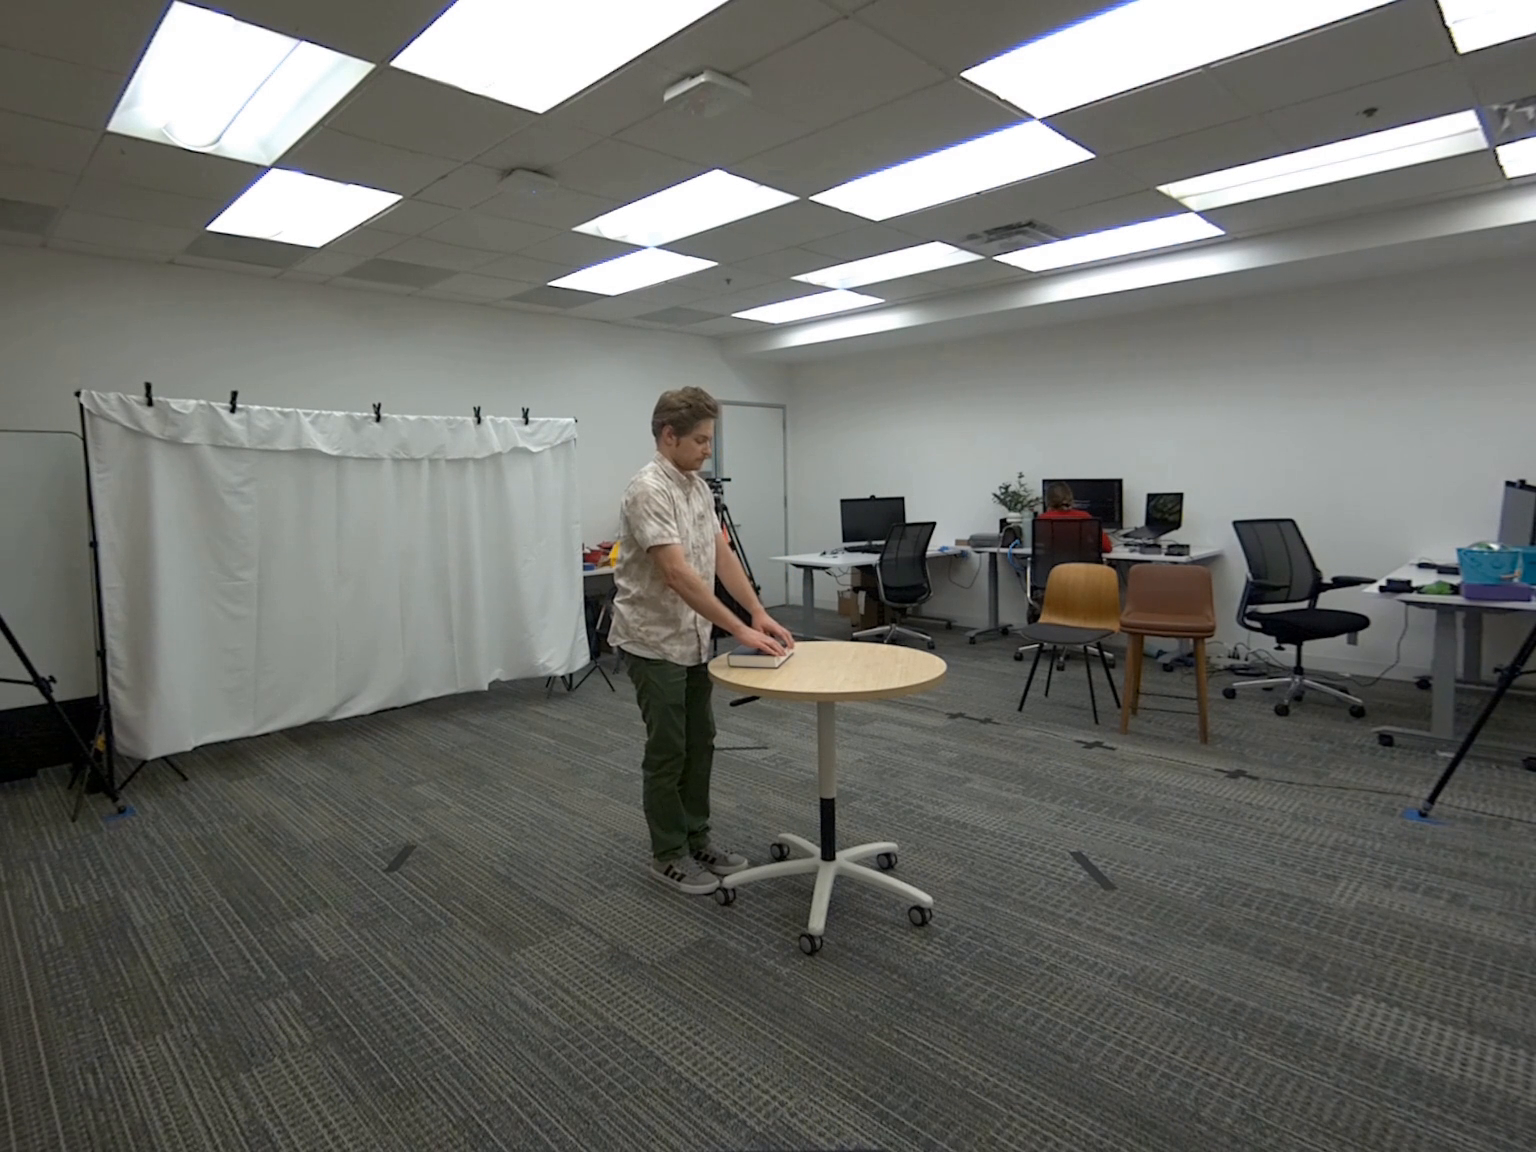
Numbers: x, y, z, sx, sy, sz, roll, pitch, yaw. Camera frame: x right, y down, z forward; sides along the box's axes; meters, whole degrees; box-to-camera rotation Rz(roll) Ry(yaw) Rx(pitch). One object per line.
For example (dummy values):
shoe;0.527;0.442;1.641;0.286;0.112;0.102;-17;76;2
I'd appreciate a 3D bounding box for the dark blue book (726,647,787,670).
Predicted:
dark blue book;-0.024;0.265;2.850;0.166;0.045;0.242;0;5;14
